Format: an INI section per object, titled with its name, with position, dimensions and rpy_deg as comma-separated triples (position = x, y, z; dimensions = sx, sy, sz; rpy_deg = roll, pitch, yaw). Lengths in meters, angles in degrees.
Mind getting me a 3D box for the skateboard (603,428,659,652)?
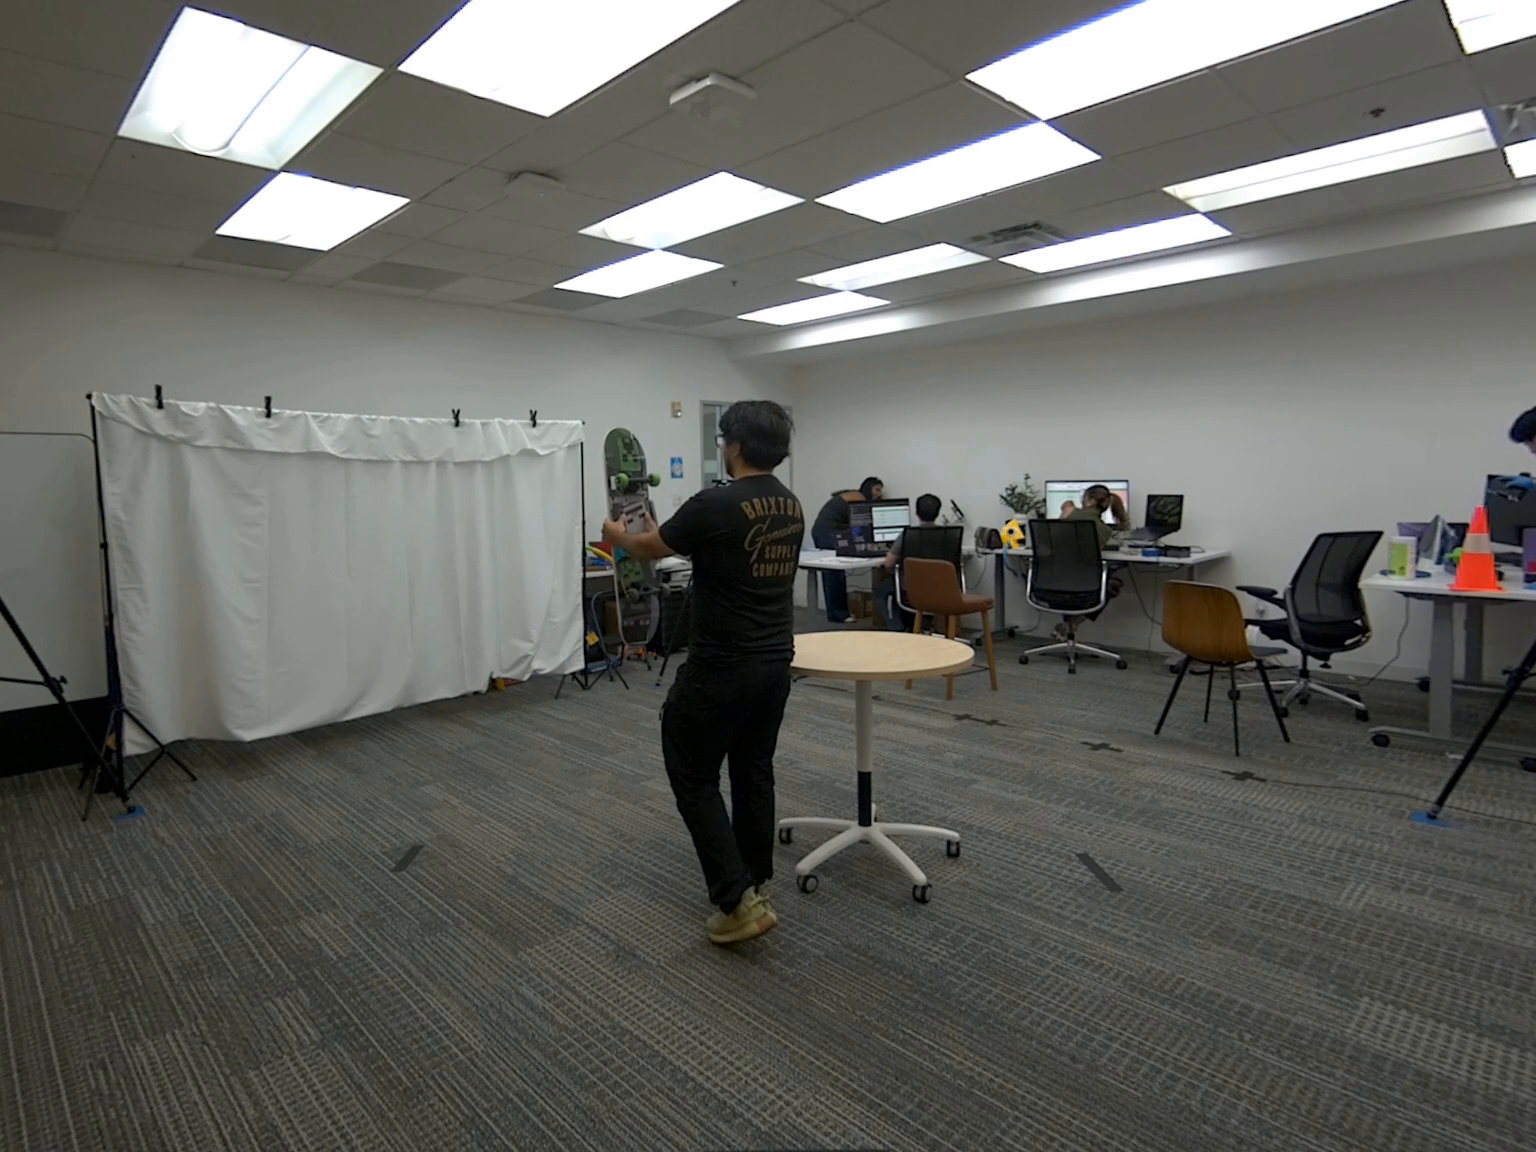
[skateboard]
position = -0.466, -0.133, 3.024
dimensions = 0.113, 0.784, 0.188
rpy_deg = -4, 2, 42
